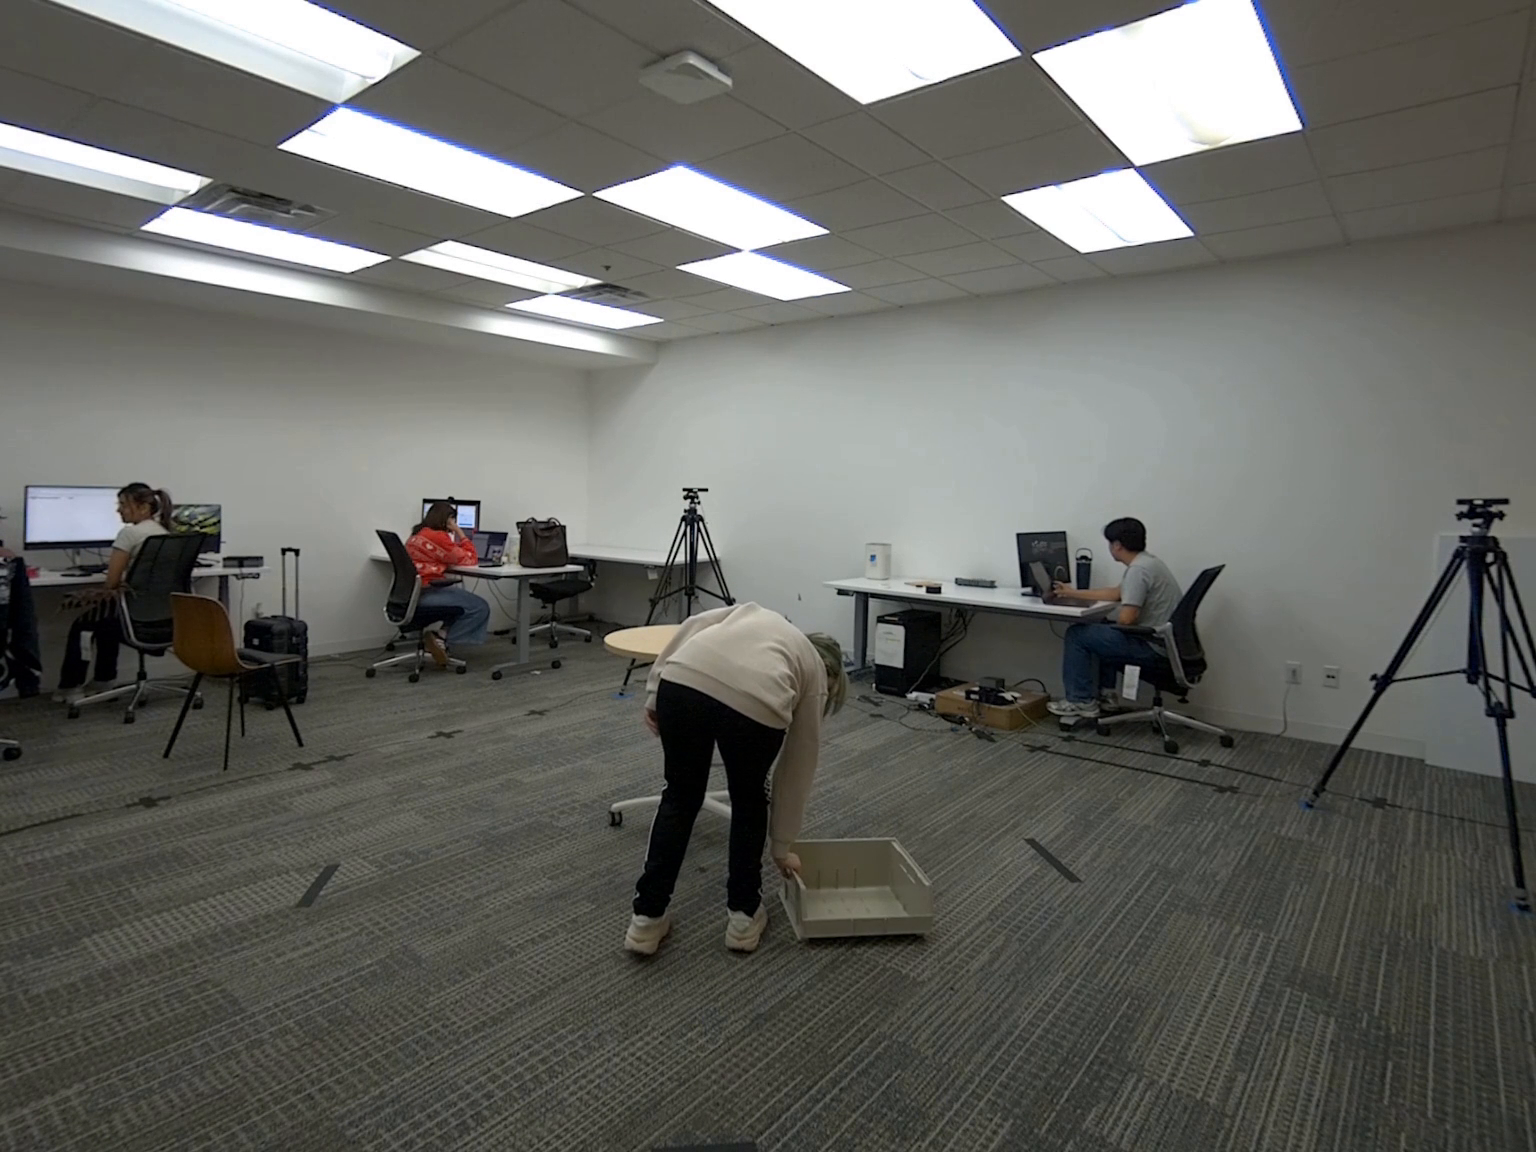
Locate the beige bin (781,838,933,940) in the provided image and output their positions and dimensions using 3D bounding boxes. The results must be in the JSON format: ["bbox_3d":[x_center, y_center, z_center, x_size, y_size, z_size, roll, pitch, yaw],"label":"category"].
[{"bbox_3d":[0.273,1.022,2.778,0.418,0.188,0.382,0,4,-9],"label":"beige bin"}]
